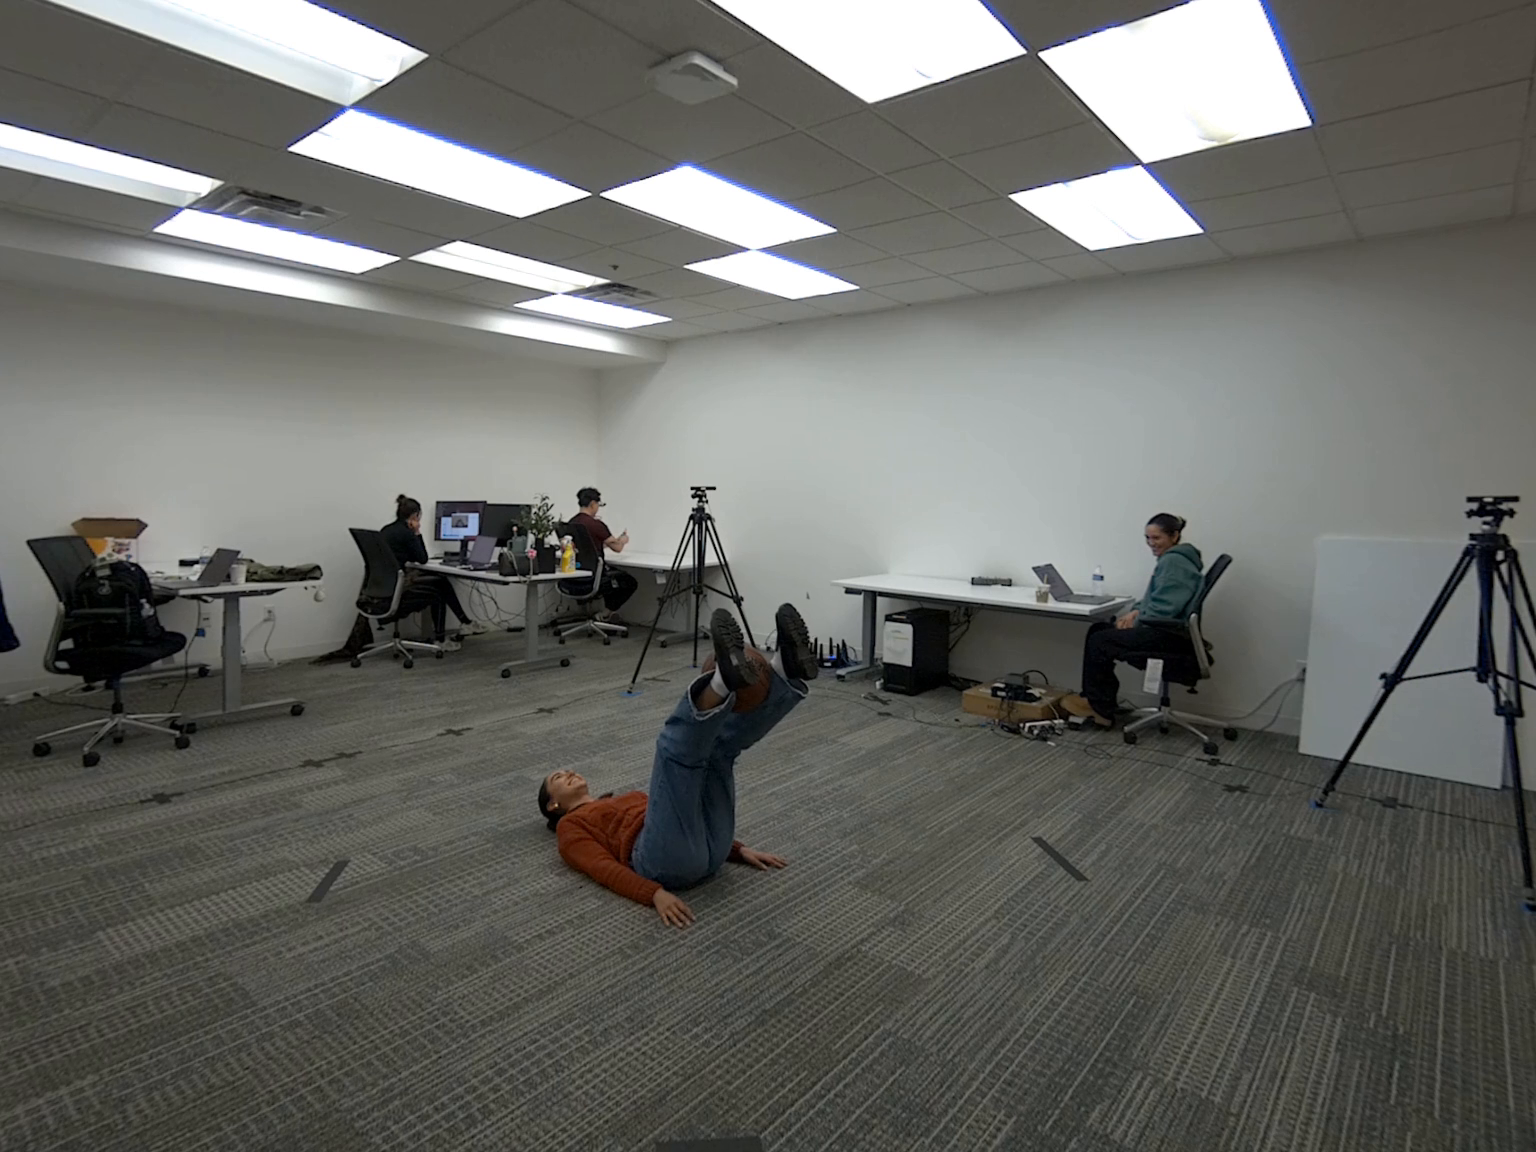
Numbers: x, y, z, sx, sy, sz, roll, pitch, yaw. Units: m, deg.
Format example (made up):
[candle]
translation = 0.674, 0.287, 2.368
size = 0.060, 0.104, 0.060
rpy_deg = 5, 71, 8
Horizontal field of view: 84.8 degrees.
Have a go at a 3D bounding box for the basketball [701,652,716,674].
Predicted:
[basketball]
translation = -0.117, 0.346, 2.885
size = 0.236, 0.235, 0.237
rpy_deg = 1, 4, -2
